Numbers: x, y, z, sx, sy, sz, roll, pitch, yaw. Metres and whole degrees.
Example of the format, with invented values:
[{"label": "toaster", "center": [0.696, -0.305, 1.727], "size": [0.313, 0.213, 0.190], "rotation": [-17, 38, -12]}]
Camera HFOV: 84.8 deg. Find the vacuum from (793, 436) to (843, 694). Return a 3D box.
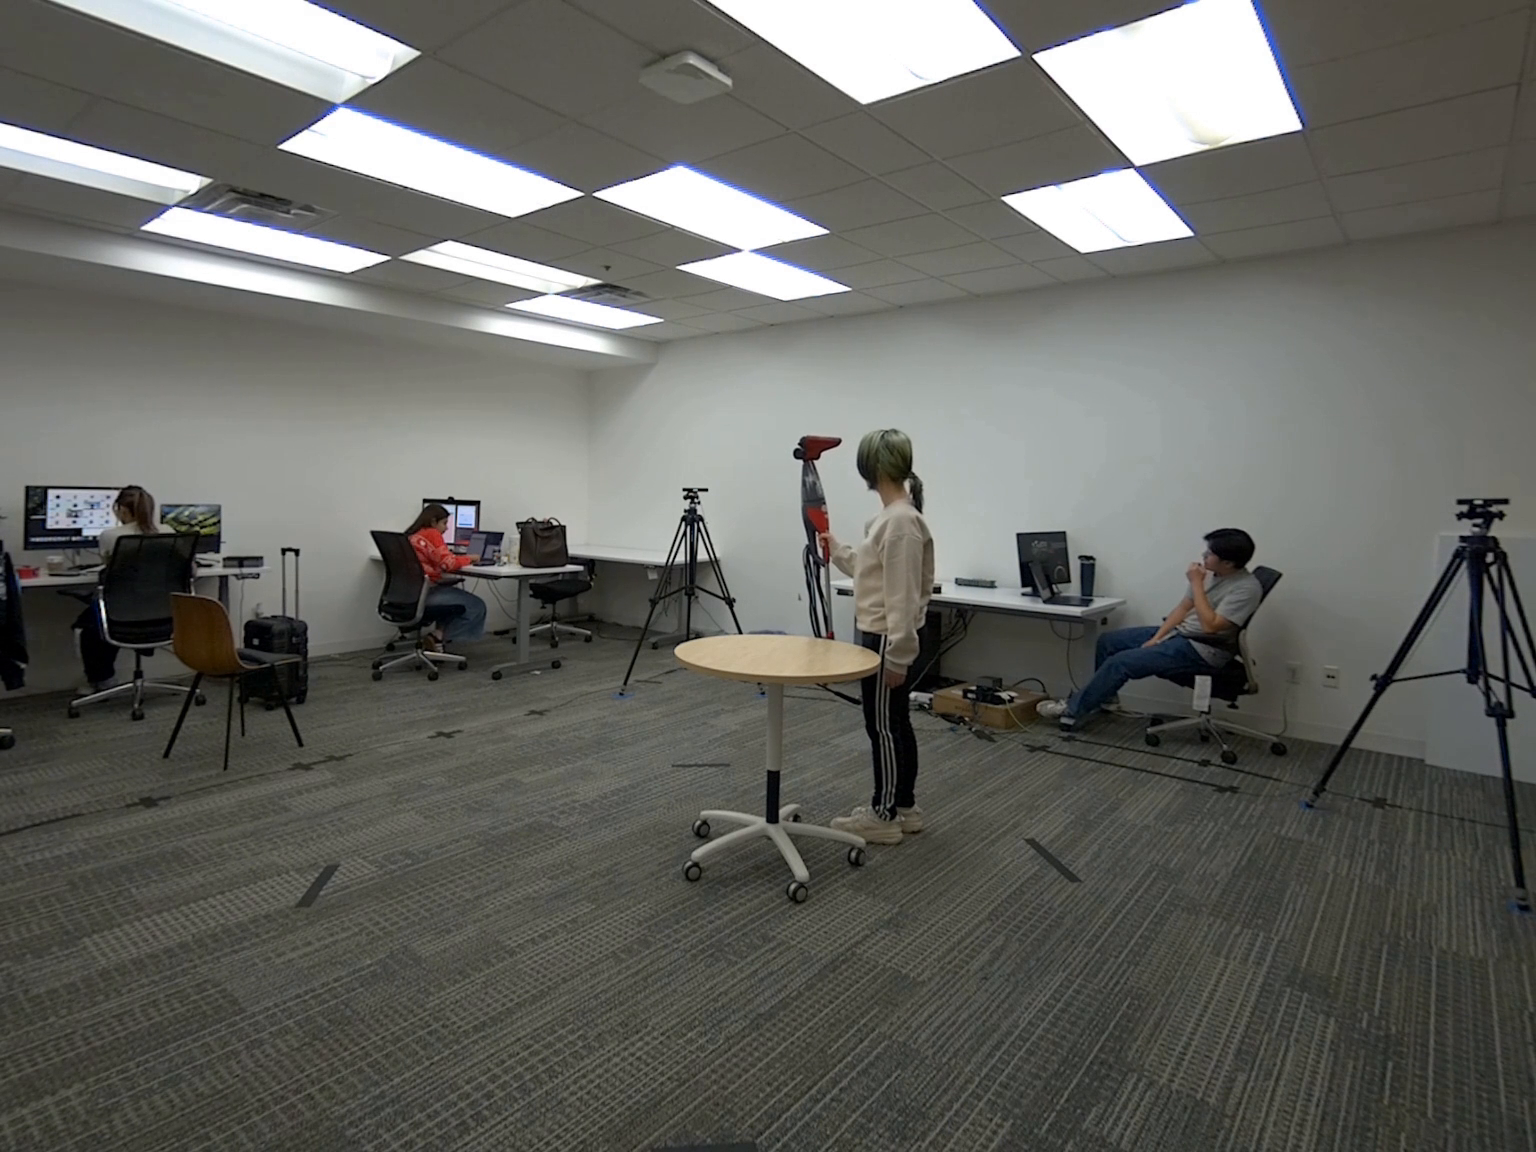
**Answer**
[{"label": "vacuum", "center": [0.213, -0.063, 3.741], "size": [0.245, 1.049, 0.148], "rotation": [-2, 1, -45]}]
